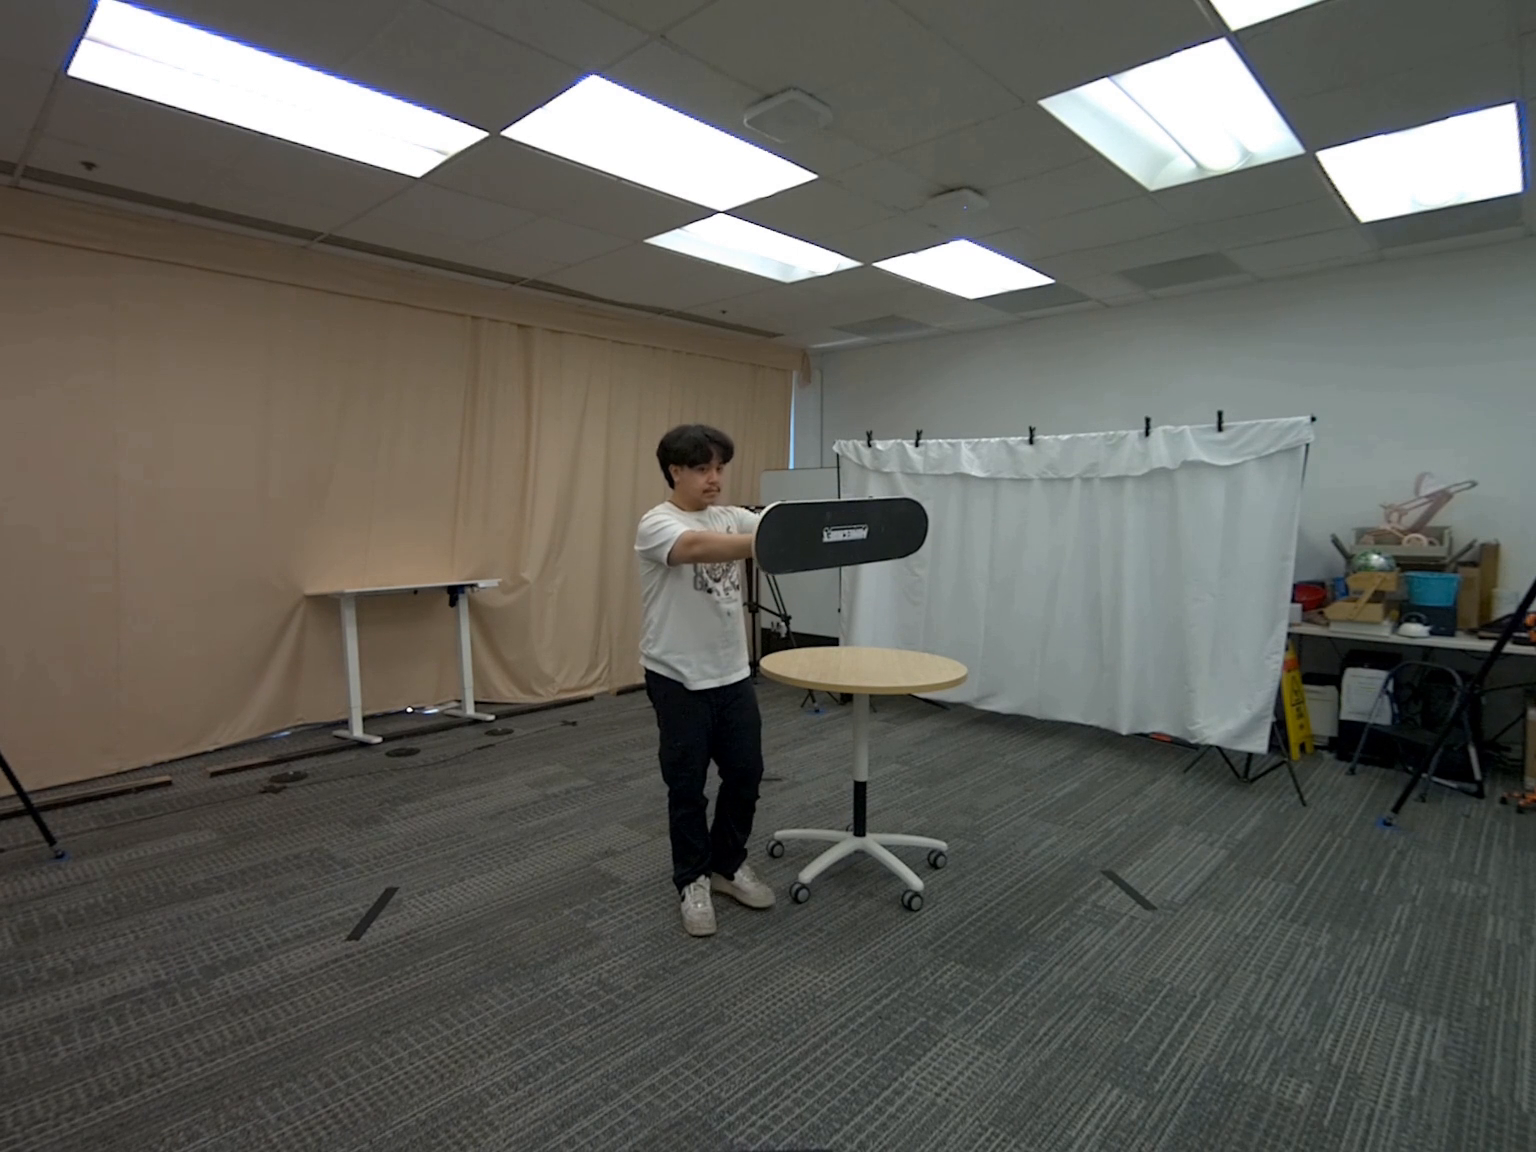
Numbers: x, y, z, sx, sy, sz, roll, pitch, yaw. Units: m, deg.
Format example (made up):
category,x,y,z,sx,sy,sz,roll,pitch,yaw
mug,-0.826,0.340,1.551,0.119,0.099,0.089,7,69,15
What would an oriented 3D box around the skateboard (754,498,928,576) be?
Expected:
category,x,y,z,sx,sy,sz,roll,pitch,yaw
skateboard,0.206,-0.121,2.419,0.114,0.193,0.762,6,9,45
